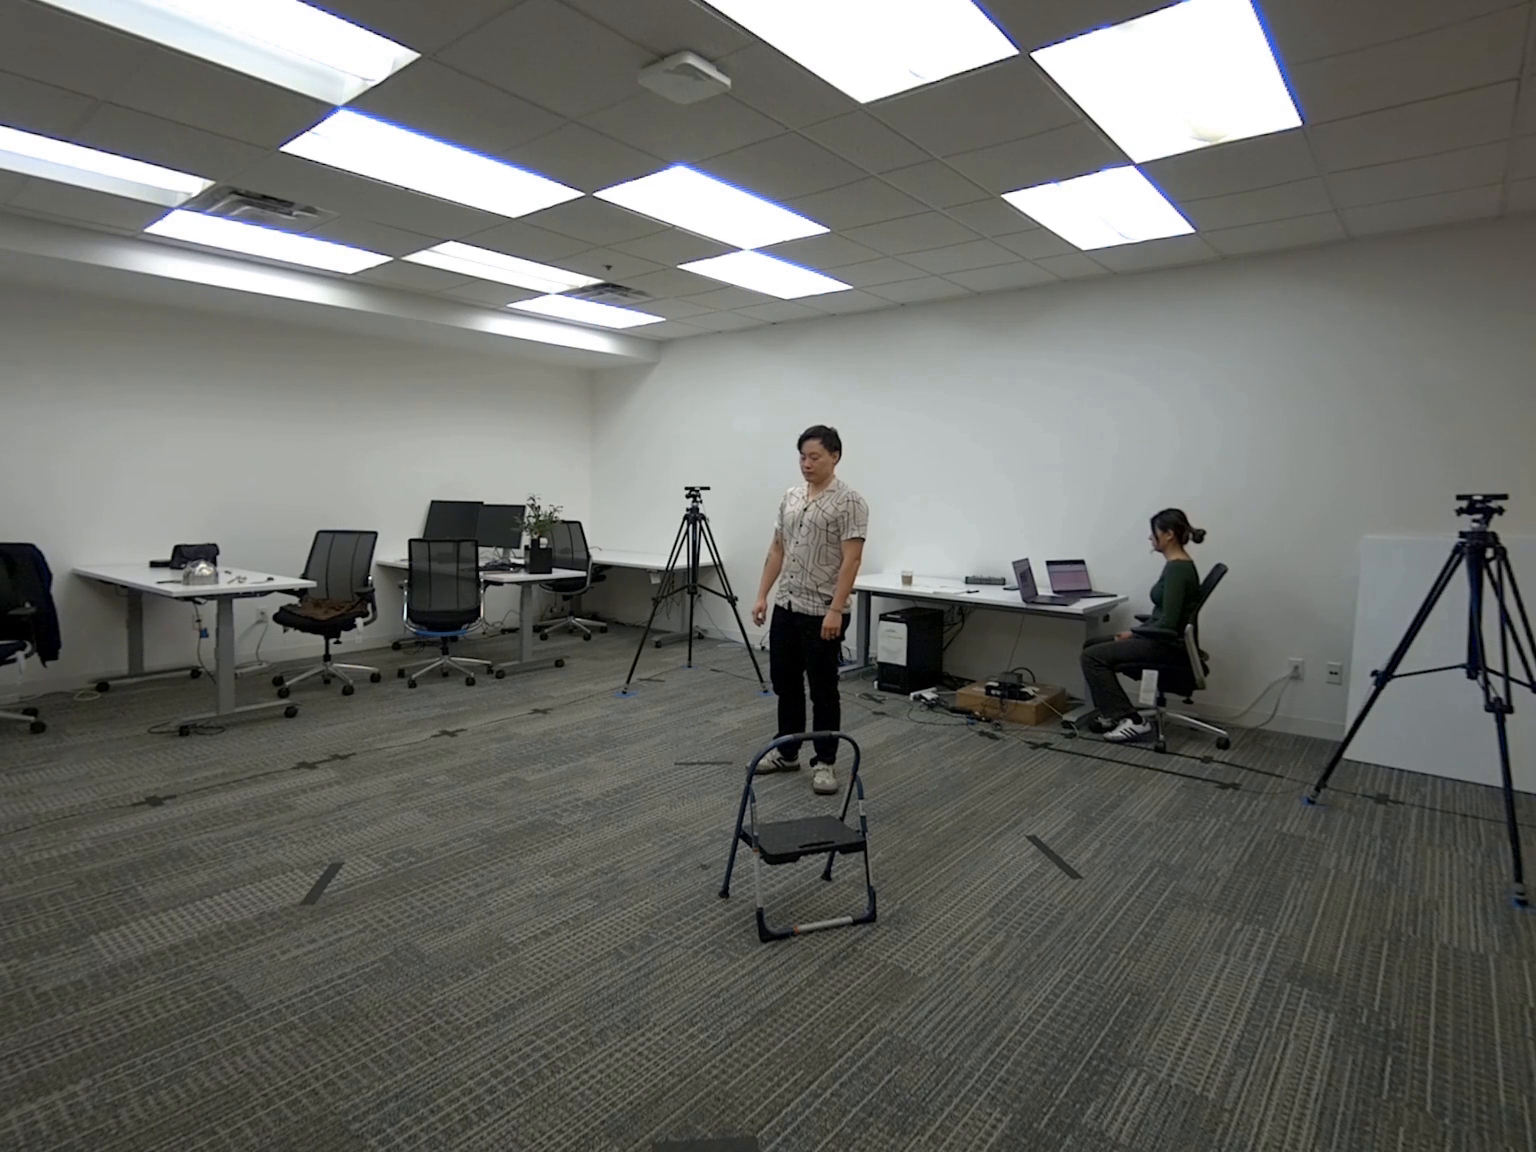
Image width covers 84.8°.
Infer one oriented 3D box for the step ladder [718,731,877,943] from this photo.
[{"bbox_3d":[0.093,0.796,2.812,0.421,0.604,0.358,-1,4,-24],"label":"step ladder"}]
